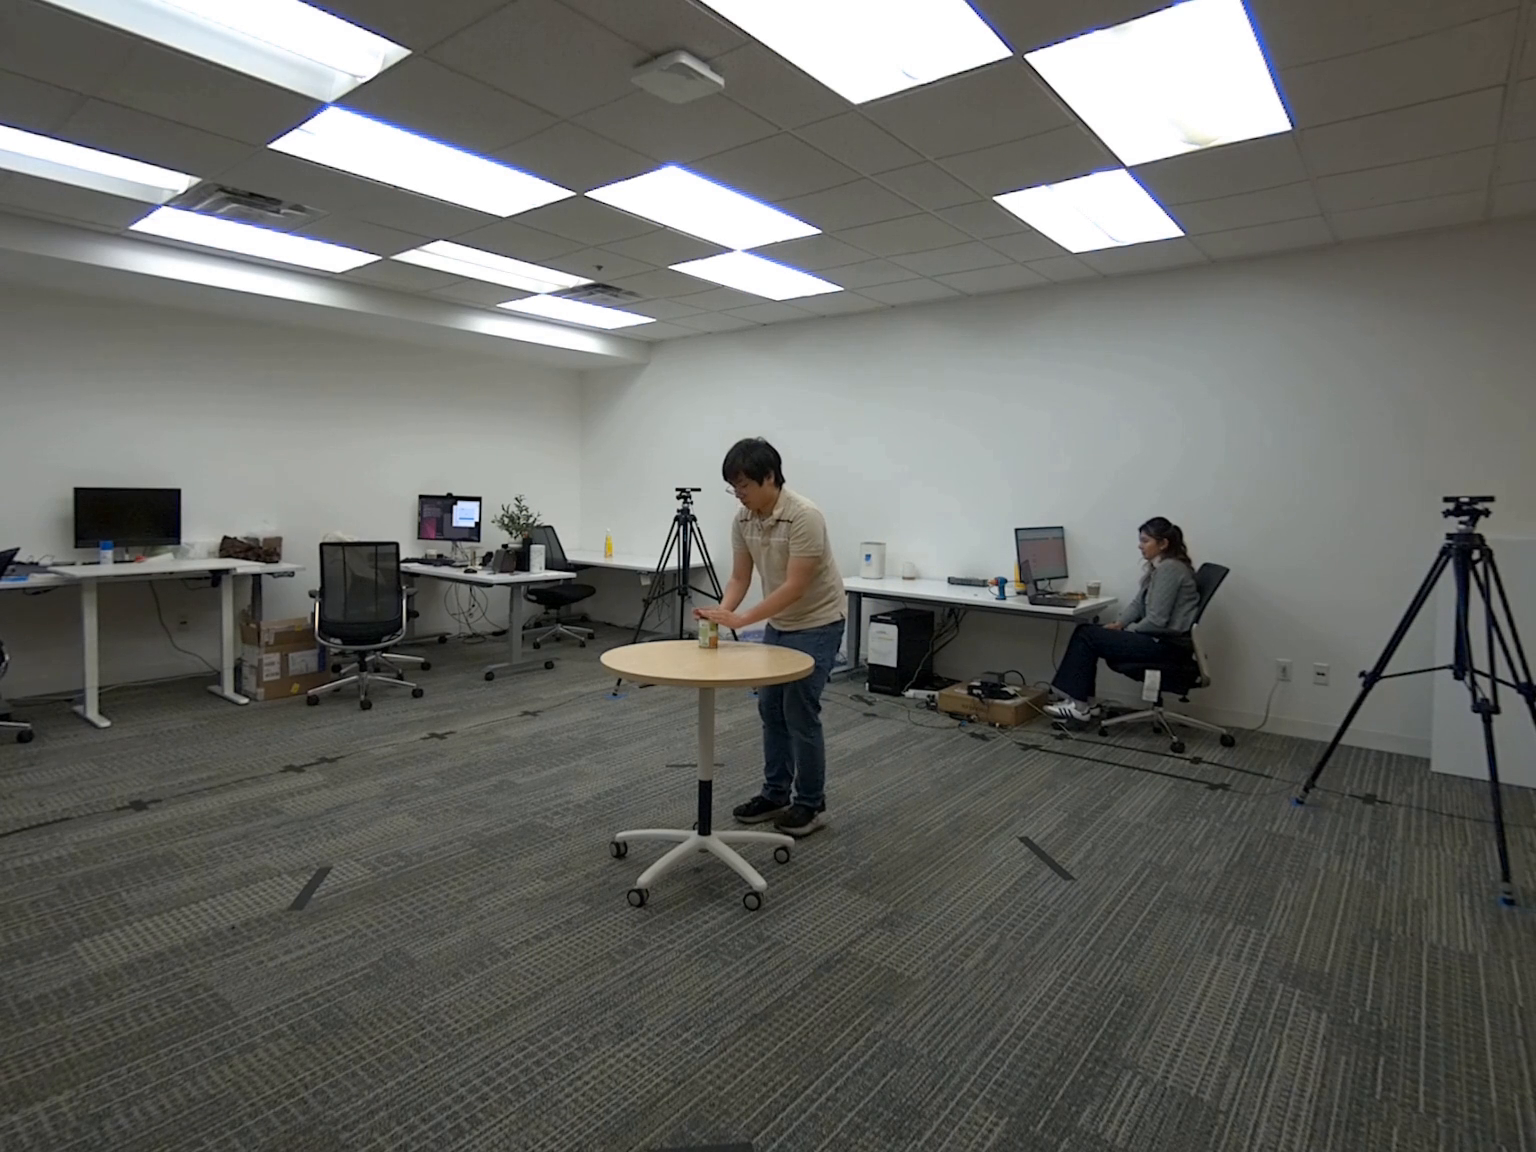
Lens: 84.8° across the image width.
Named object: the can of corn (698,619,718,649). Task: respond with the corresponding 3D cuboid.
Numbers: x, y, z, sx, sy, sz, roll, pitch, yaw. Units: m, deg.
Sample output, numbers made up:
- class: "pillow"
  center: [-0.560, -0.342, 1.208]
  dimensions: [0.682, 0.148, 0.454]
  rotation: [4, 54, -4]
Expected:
- class: "can of corn"
  center: [-0.247, 0.215, 3.283]
  dimensions: [0.074, 0.111, 0.074]
  rotation: [1, 1, -2]
